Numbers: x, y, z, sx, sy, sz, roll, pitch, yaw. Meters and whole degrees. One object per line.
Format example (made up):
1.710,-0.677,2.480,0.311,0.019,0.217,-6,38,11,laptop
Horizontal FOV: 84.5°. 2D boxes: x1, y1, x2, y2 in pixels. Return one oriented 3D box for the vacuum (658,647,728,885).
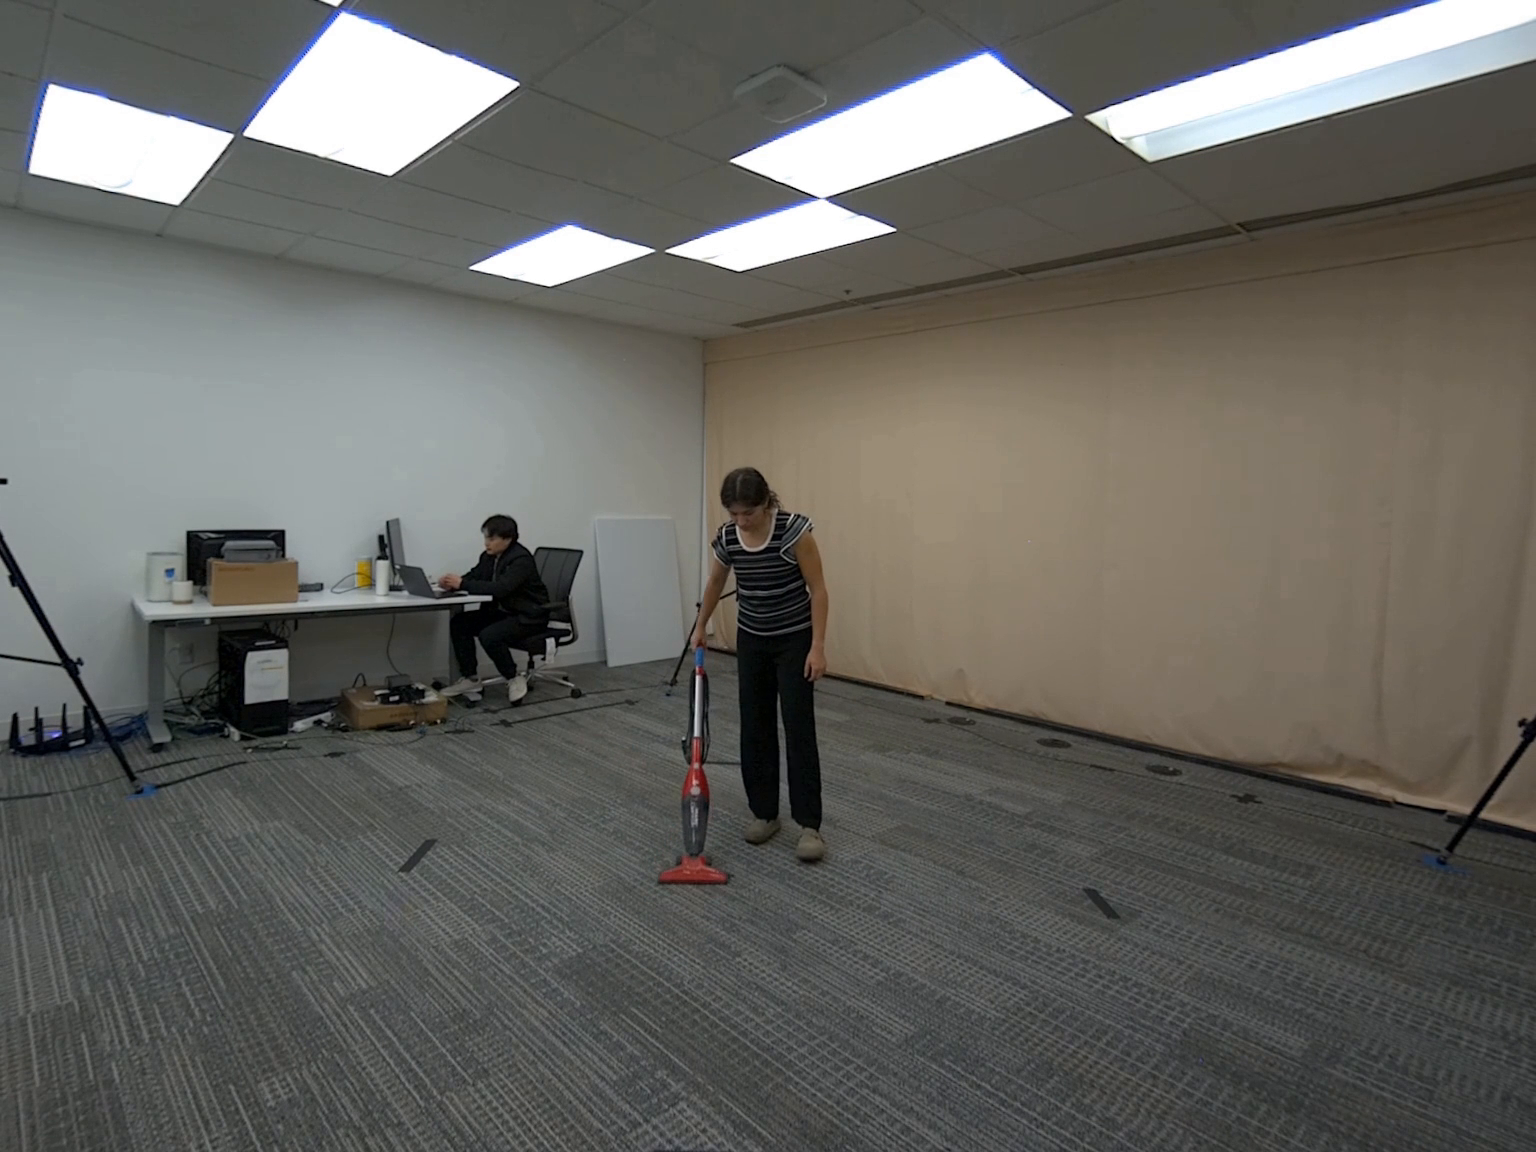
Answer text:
-0.301,0.702,3.422,0.252,1.073,0.141,-1,-41,-2,vacuum
